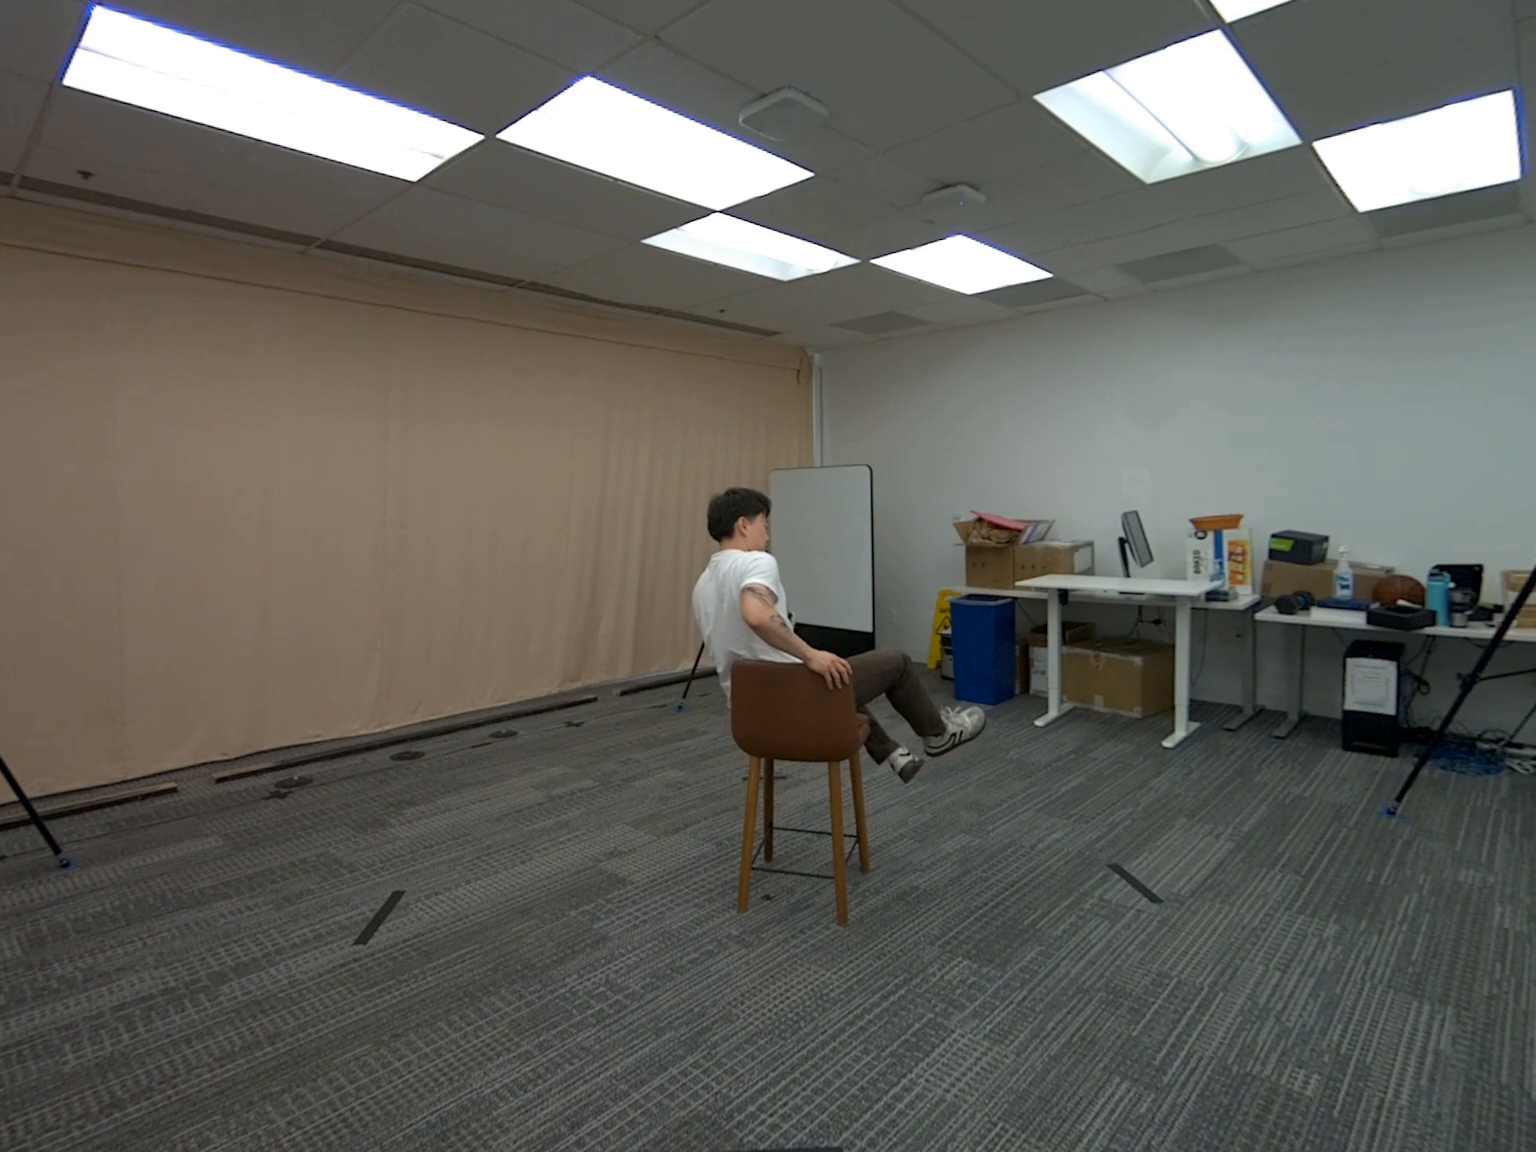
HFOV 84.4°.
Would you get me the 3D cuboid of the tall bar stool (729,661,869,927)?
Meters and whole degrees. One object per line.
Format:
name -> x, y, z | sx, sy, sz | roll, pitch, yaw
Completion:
tall bar stool -> 0.125, 0.701, 3.003 | 0.465, 0.887, 0.460 | 0, 5, 18
